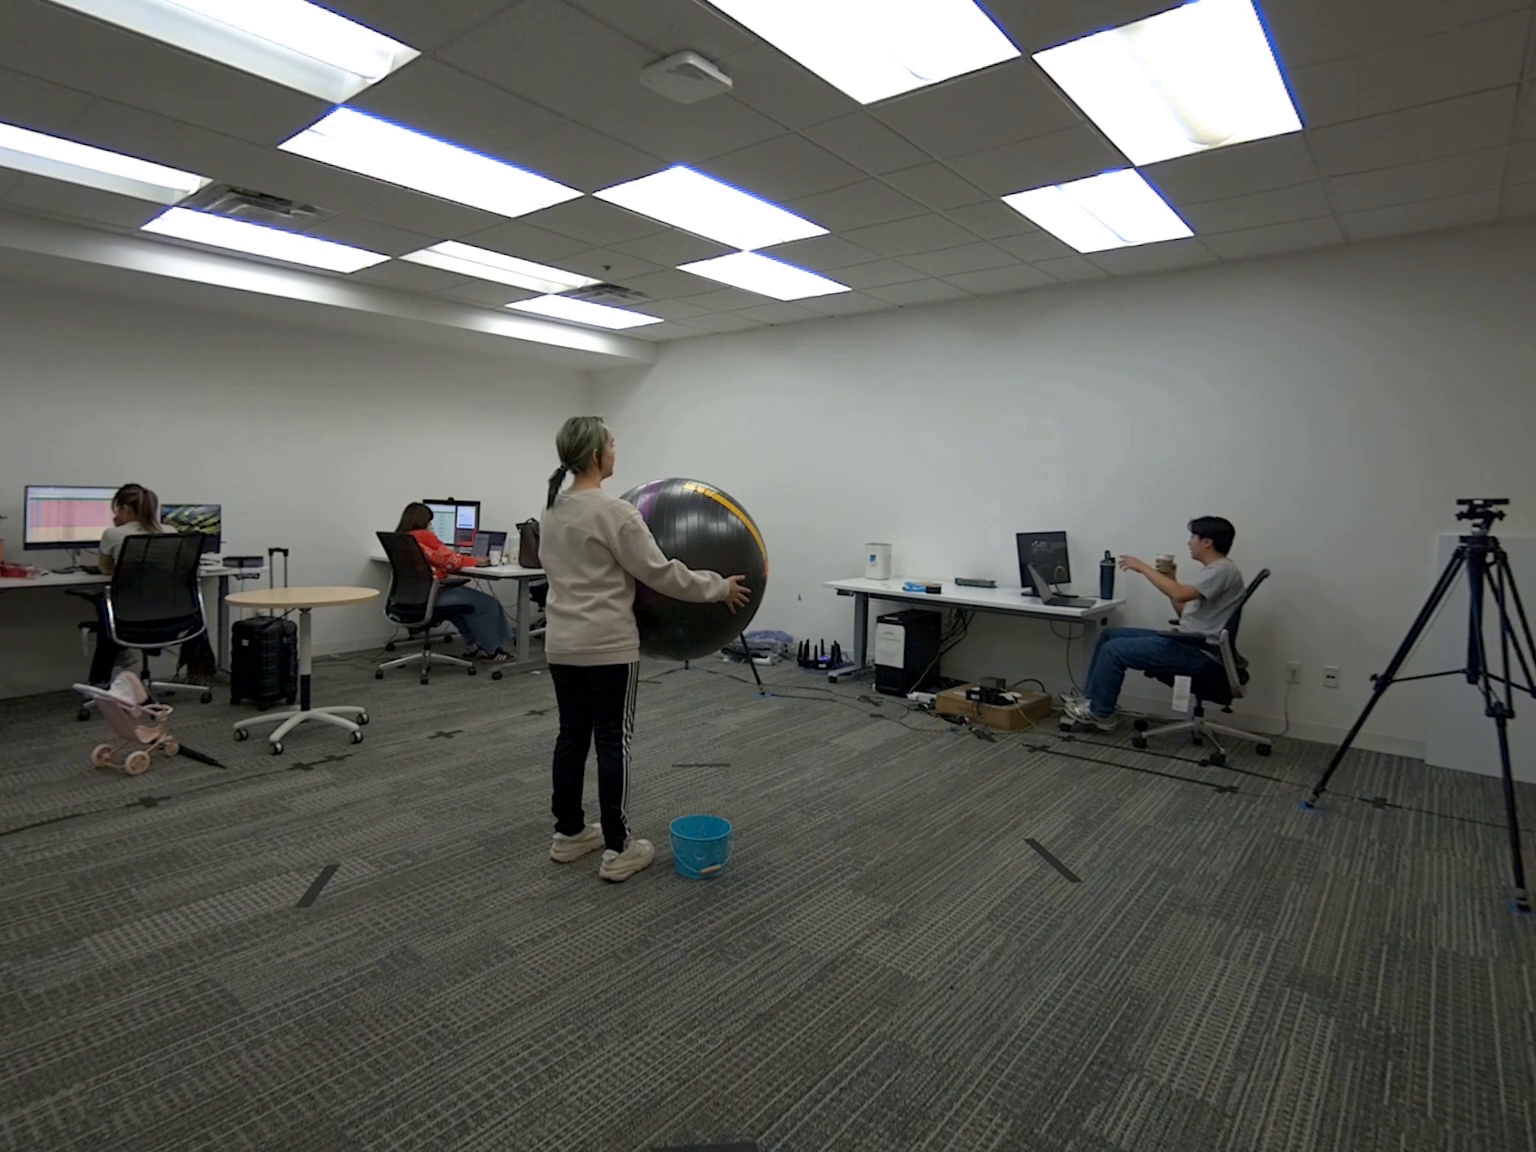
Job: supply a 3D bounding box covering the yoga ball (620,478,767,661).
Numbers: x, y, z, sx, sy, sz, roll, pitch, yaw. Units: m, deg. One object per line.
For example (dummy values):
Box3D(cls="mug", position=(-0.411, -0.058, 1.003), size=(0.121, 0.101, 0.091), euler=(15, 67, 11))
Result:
Box3D(cls="yoga ball", position=(-0.387, -0.027, 3.552), size=(0.757, 0.756, 0.762), euler=(1, 4, -2))
